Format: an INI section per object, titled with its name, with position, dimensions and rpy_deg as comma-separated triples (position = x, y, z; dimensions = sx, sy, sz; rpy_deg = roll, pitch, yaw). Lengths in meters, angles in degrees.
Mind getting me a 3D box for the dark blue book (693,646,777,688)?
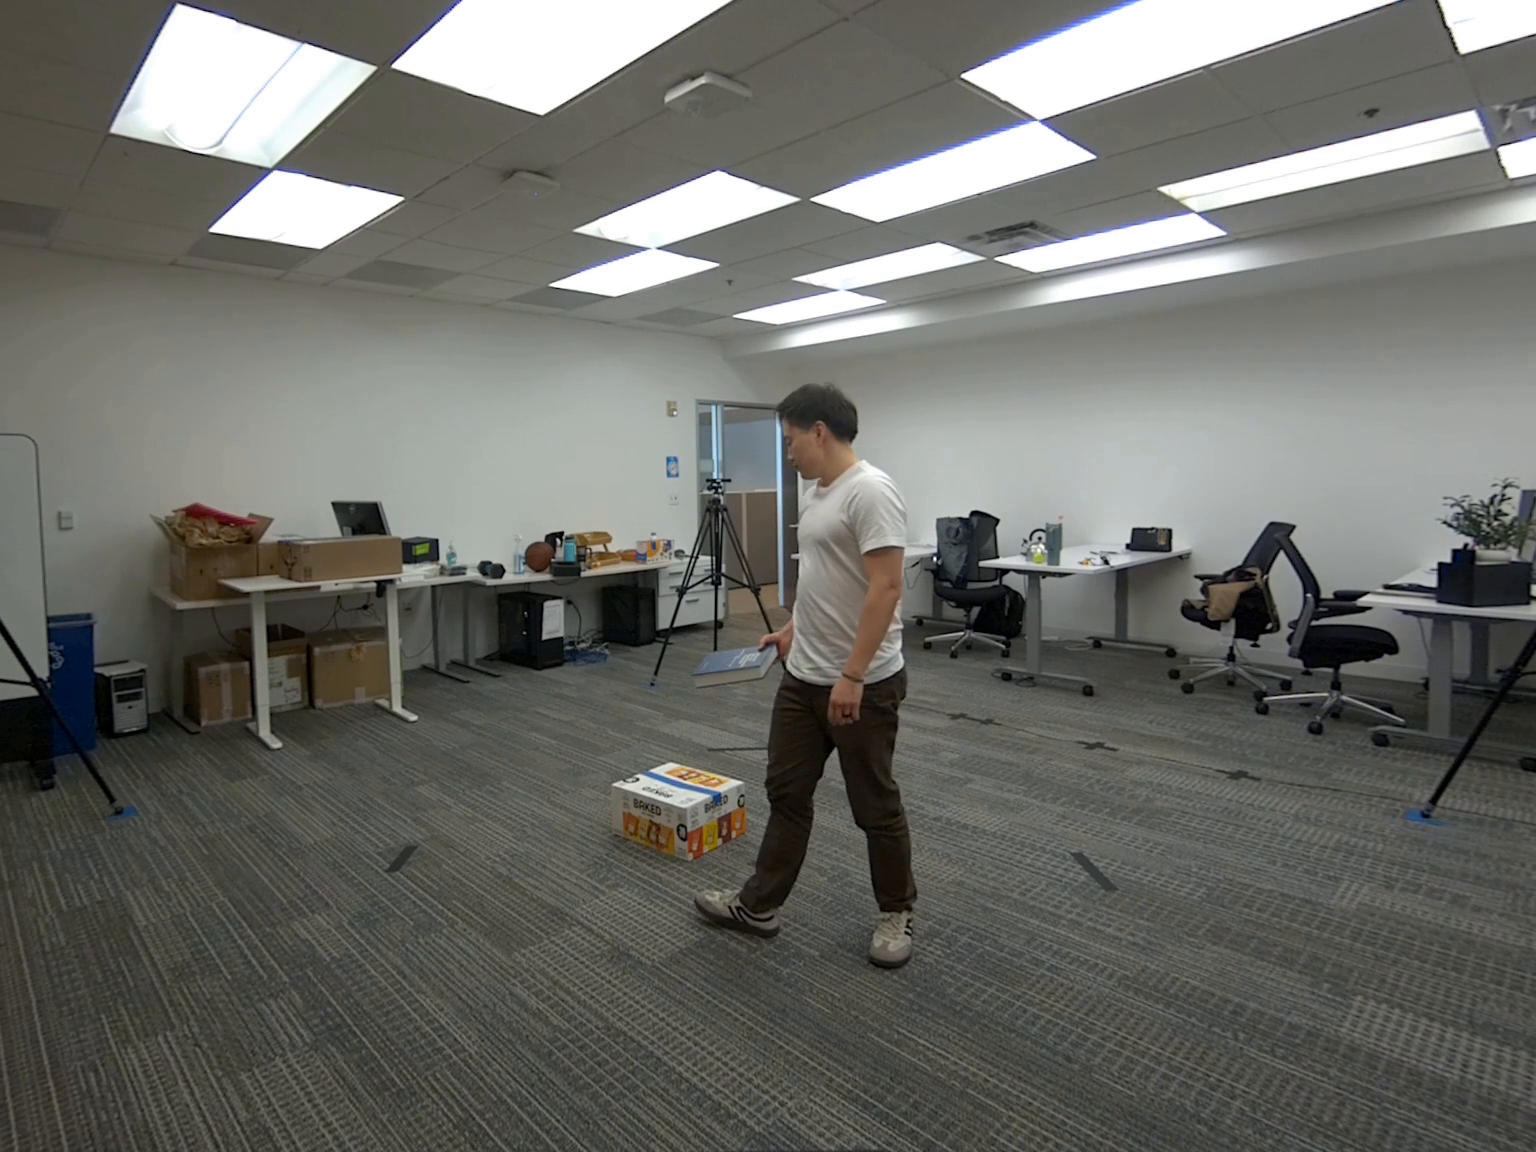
[dark blue book]
position = -0.102, 0.285, 2.695
dimensions = 0.249, 0.044, 0.163
rpy_deg = -10, 19, 25
